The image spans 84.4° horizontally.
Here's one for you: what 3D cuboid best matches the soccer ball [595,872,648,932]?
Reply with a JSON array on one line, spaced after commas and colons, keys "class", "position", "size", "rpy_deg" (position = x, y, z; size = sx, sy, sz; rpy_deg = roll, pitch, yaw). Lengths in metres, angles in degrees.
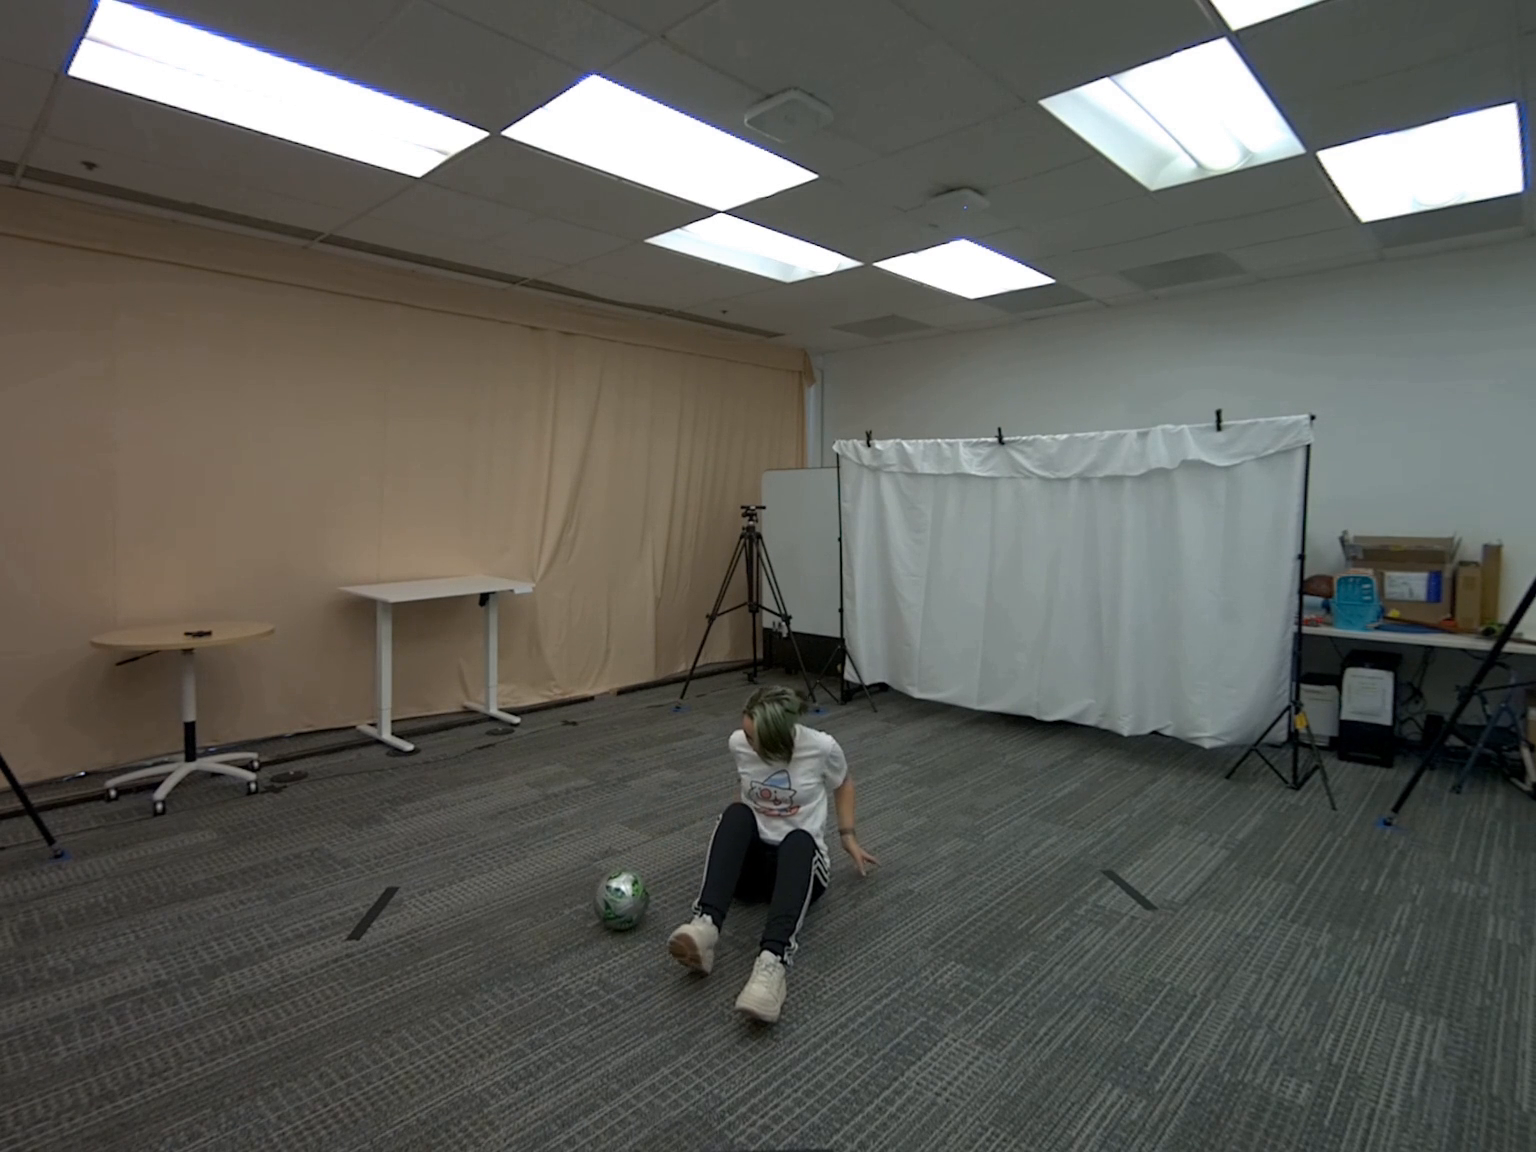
[{"class": "soccer ball", "position": [-0.484, 1.075, 2.791], "size": [0.187, 0.187, 0.188], "rpy_deg": [0, 4, -2]}]
